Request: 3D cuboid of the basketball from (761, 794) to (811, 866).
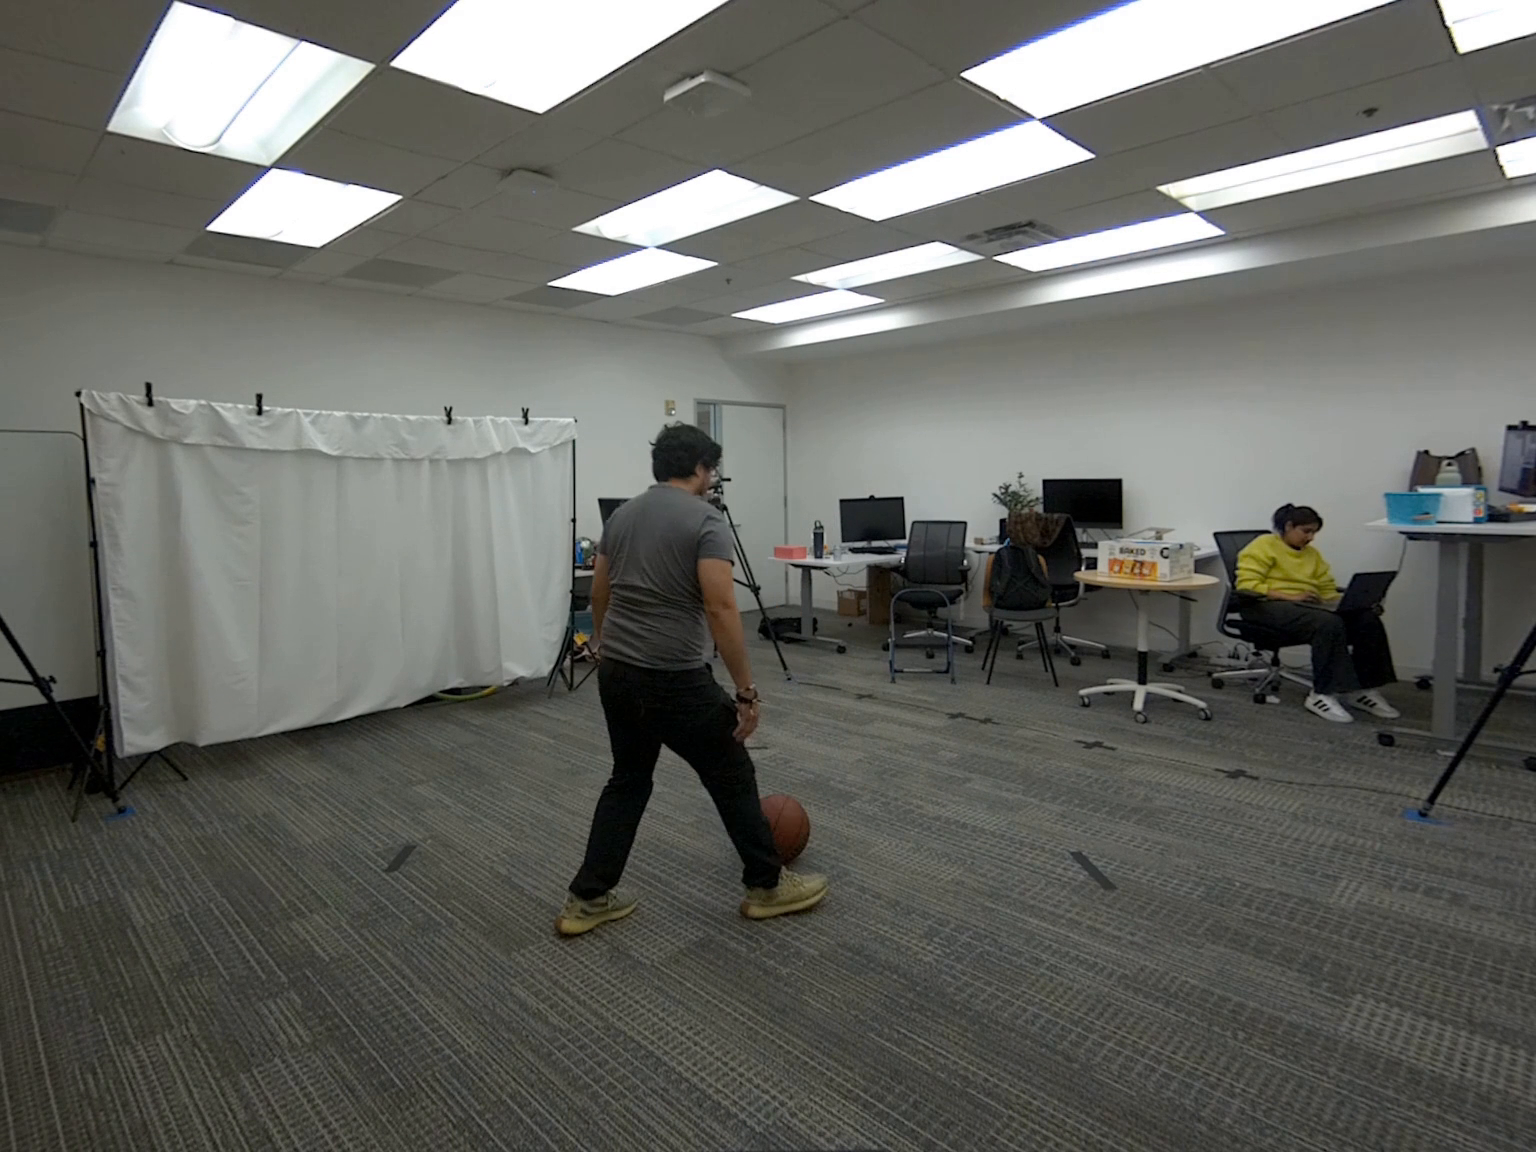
[{"bbox_3d":[0.039,0.923,3.113,0.236,0.235,0.237,-1,5,-2],"label":"basketball"}]
